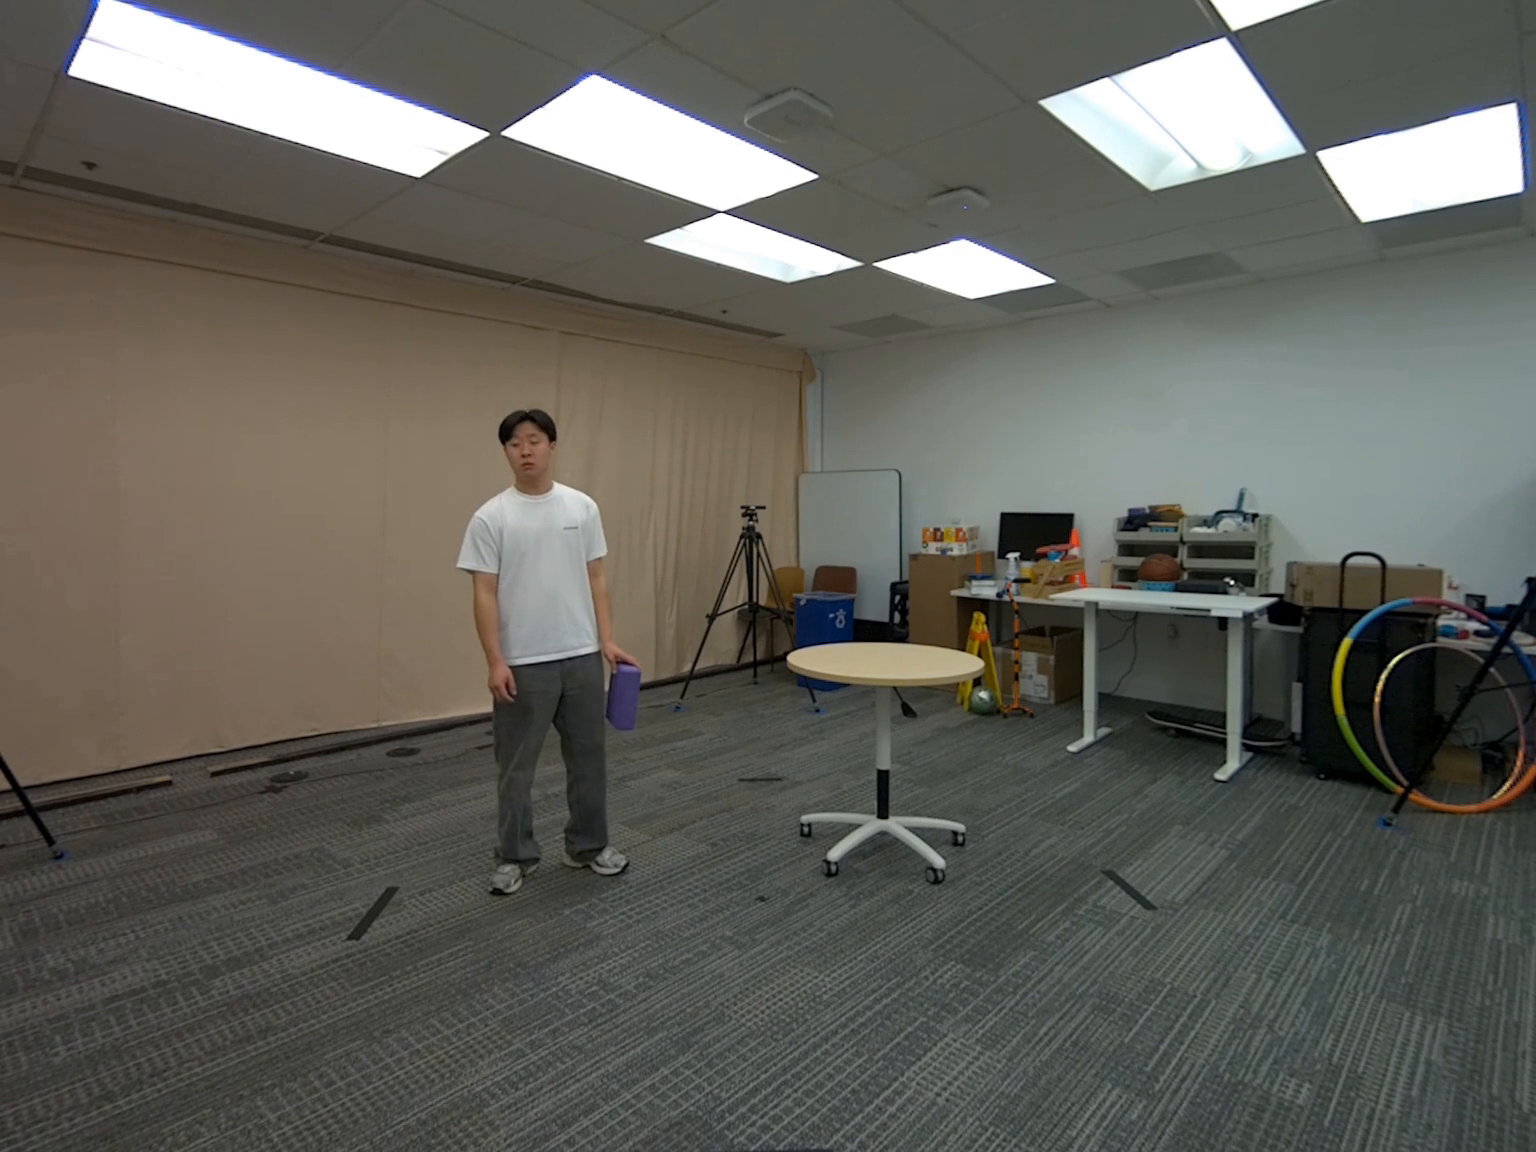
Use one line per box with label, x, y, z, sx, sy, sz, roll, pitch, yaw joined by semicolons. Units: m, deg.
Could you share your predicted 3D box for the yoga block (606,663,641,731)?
yoga block;-0.538;0.449;3.145;0.074;0.228;0.153;1;7;-24
